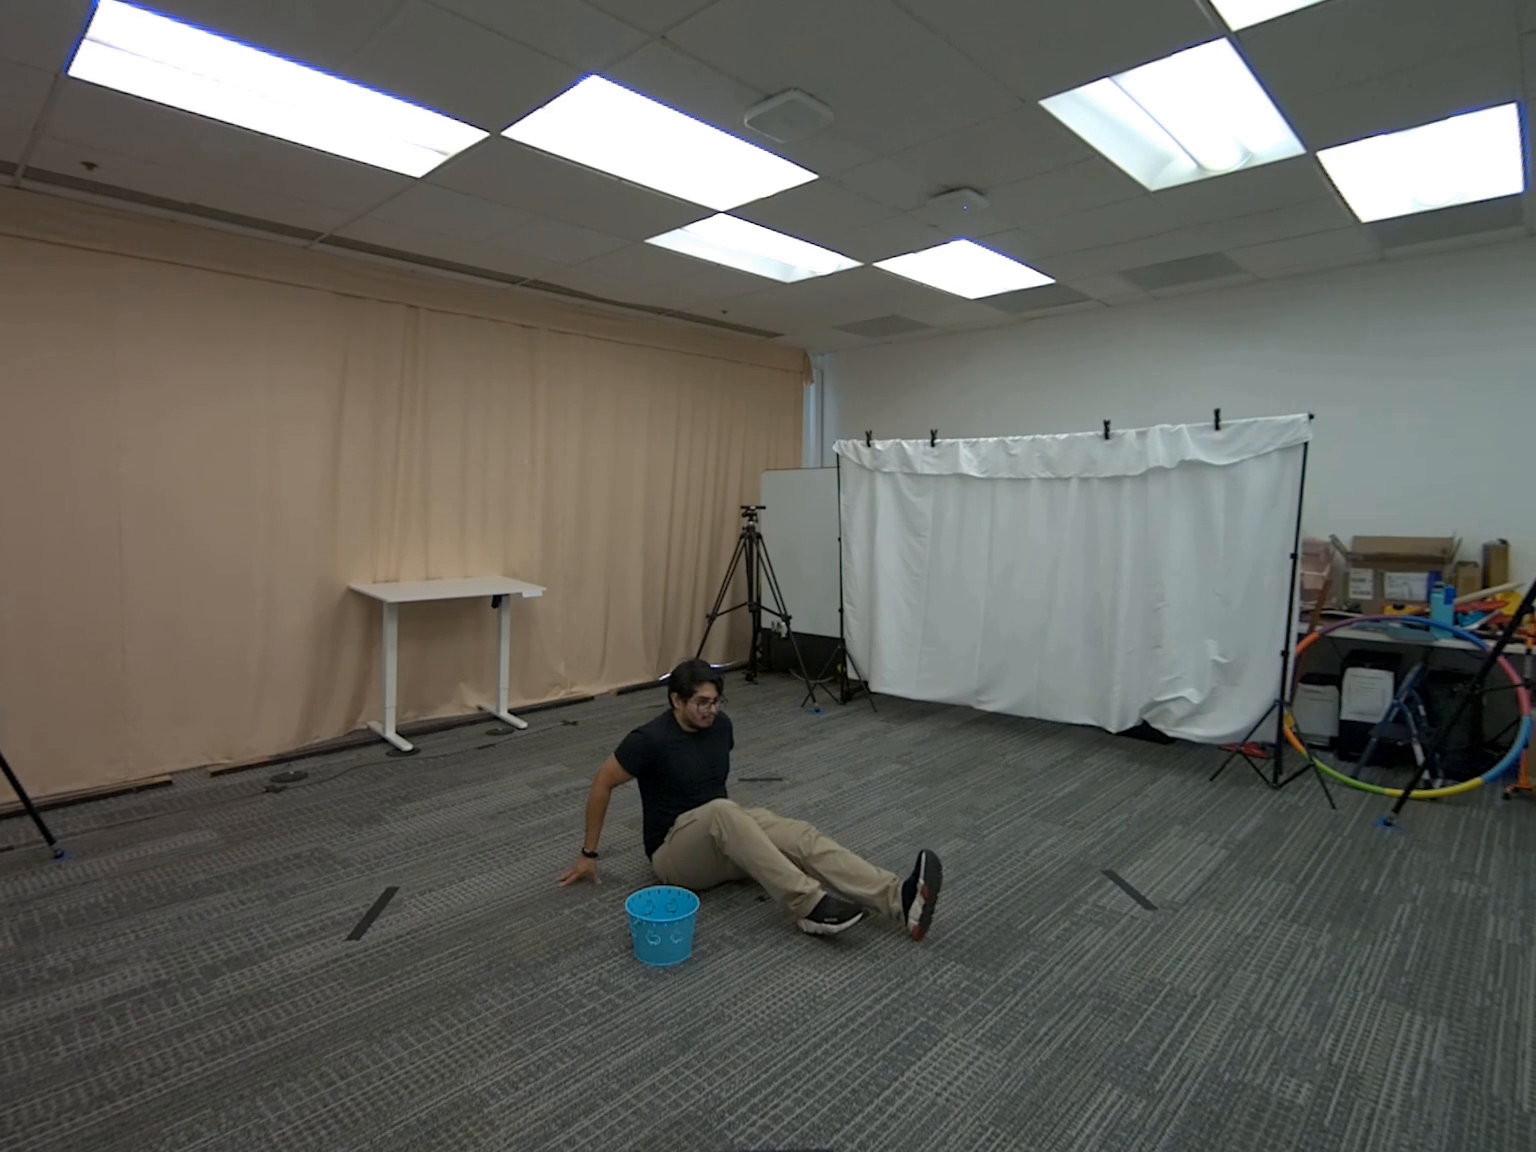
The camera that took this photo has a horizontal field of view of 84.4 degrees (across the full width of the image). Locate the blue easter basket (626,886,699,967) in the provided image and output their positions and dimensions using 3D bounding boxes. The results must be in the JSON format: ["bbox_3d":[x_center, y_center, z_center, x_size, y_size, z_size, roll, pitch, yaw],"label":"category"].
[{"bbox_3d":[-0.334,1.089,2.647,0.243,0.155,0.244,-1,4,-2],"label":"blue easter basket"}]
